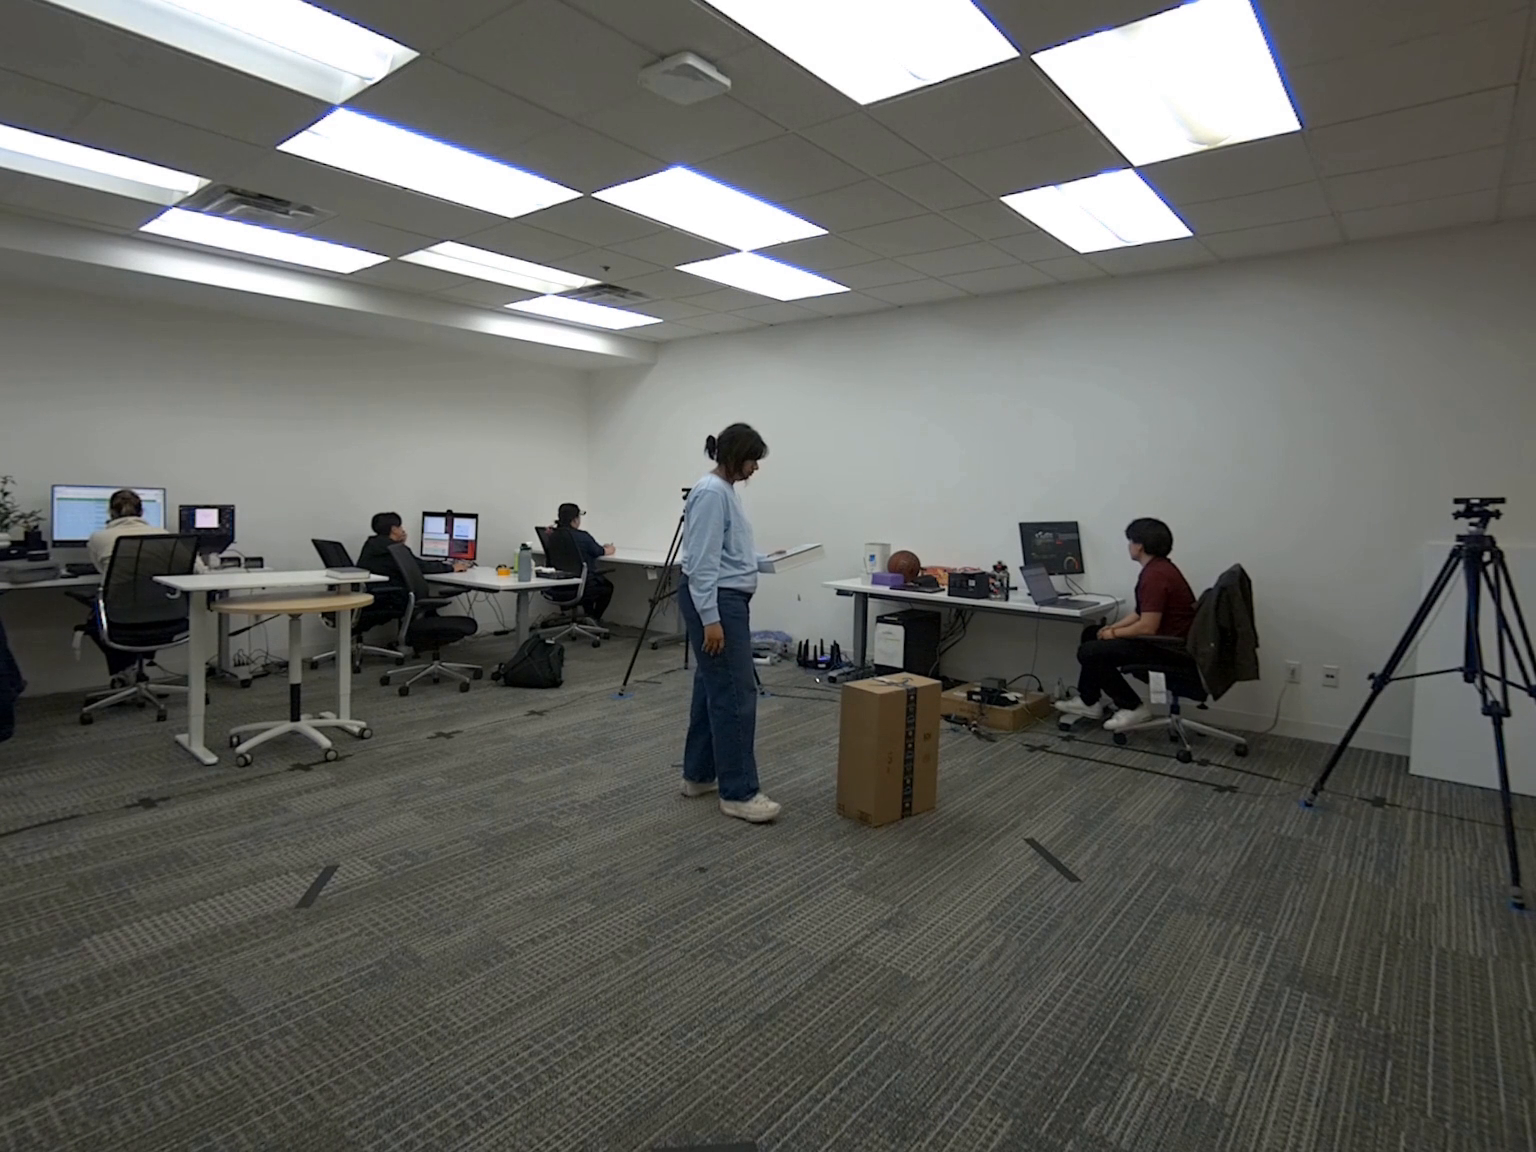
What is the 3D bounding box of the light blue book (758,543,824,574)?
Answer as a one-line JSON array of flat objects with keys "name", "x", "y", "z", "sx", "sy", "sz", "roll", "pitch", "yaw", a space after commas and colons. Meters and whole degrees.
[{"name": "light blue book", "x": 0.099, "y": -0.078, "z": 3.851, "sx": 0.257, "sy": 0.058, "sz": 0.195, "roll": -19, "pitch": 9, "yaw": -21}]
